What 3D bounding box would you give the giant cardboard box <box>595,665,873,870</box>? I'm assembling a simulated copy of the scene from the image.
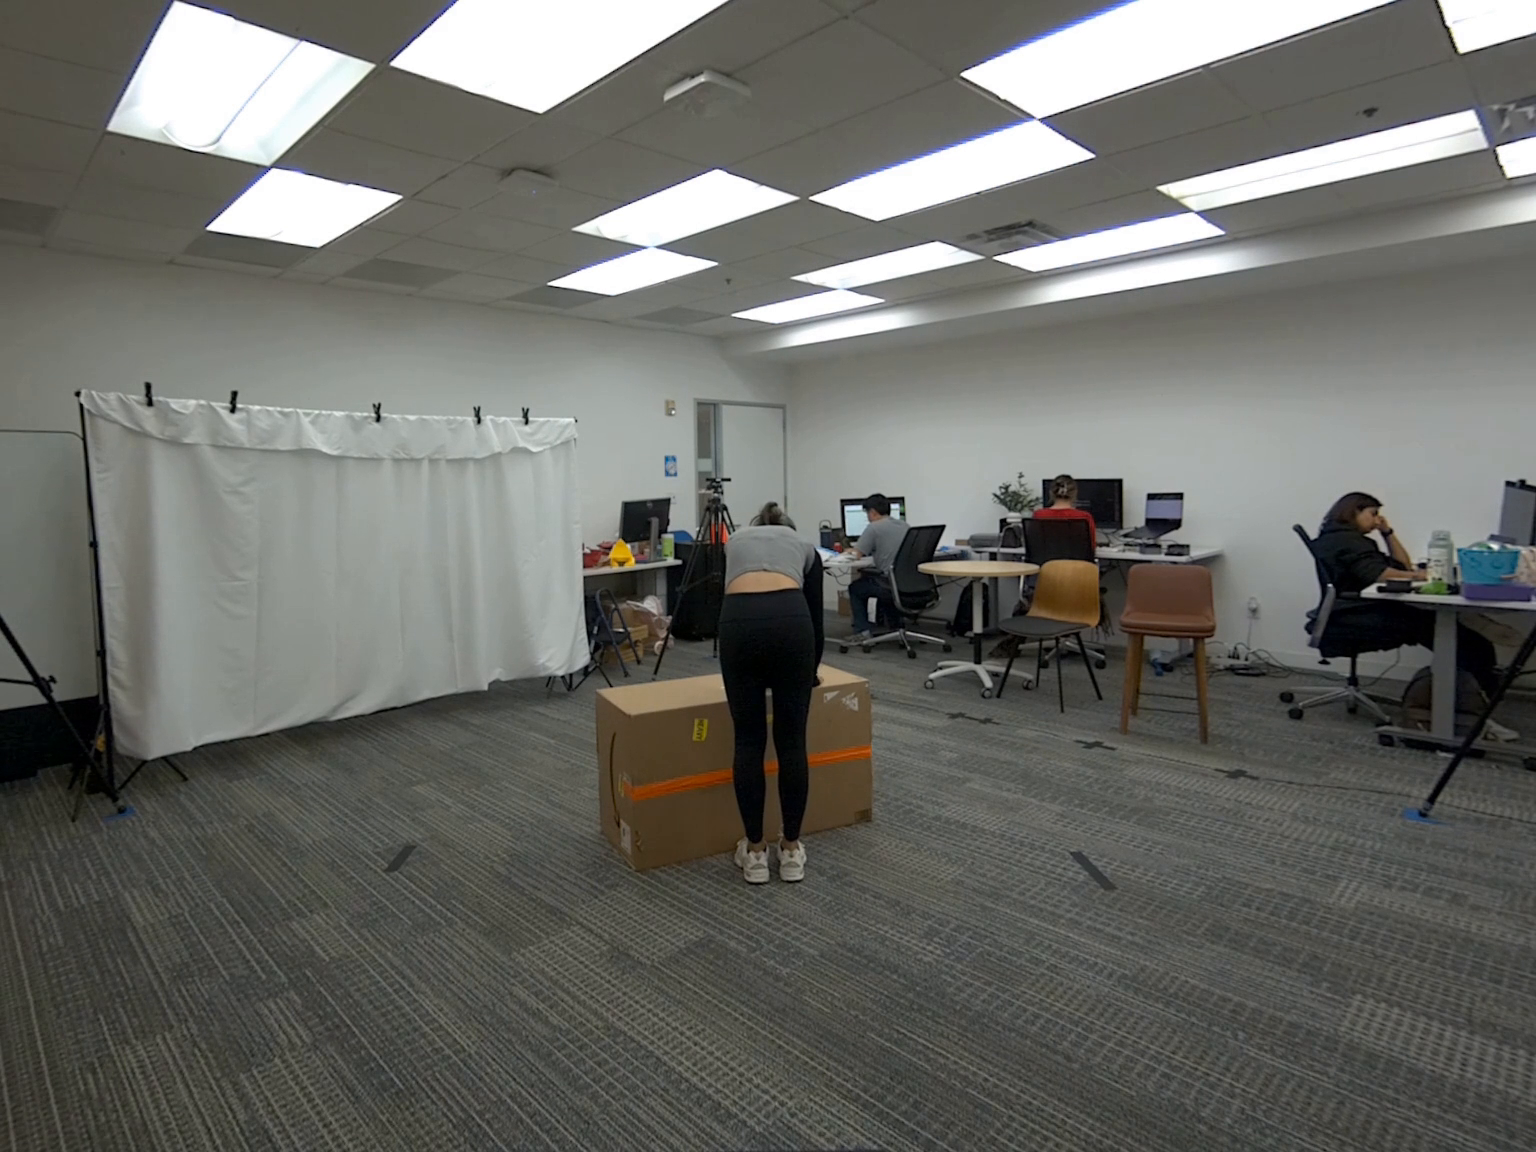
[{"bbox_3d":[-0.131,0.719,3.430,1.005,0.575,0.437,-4,5,-25],"label":"giant cardboard box"}]
